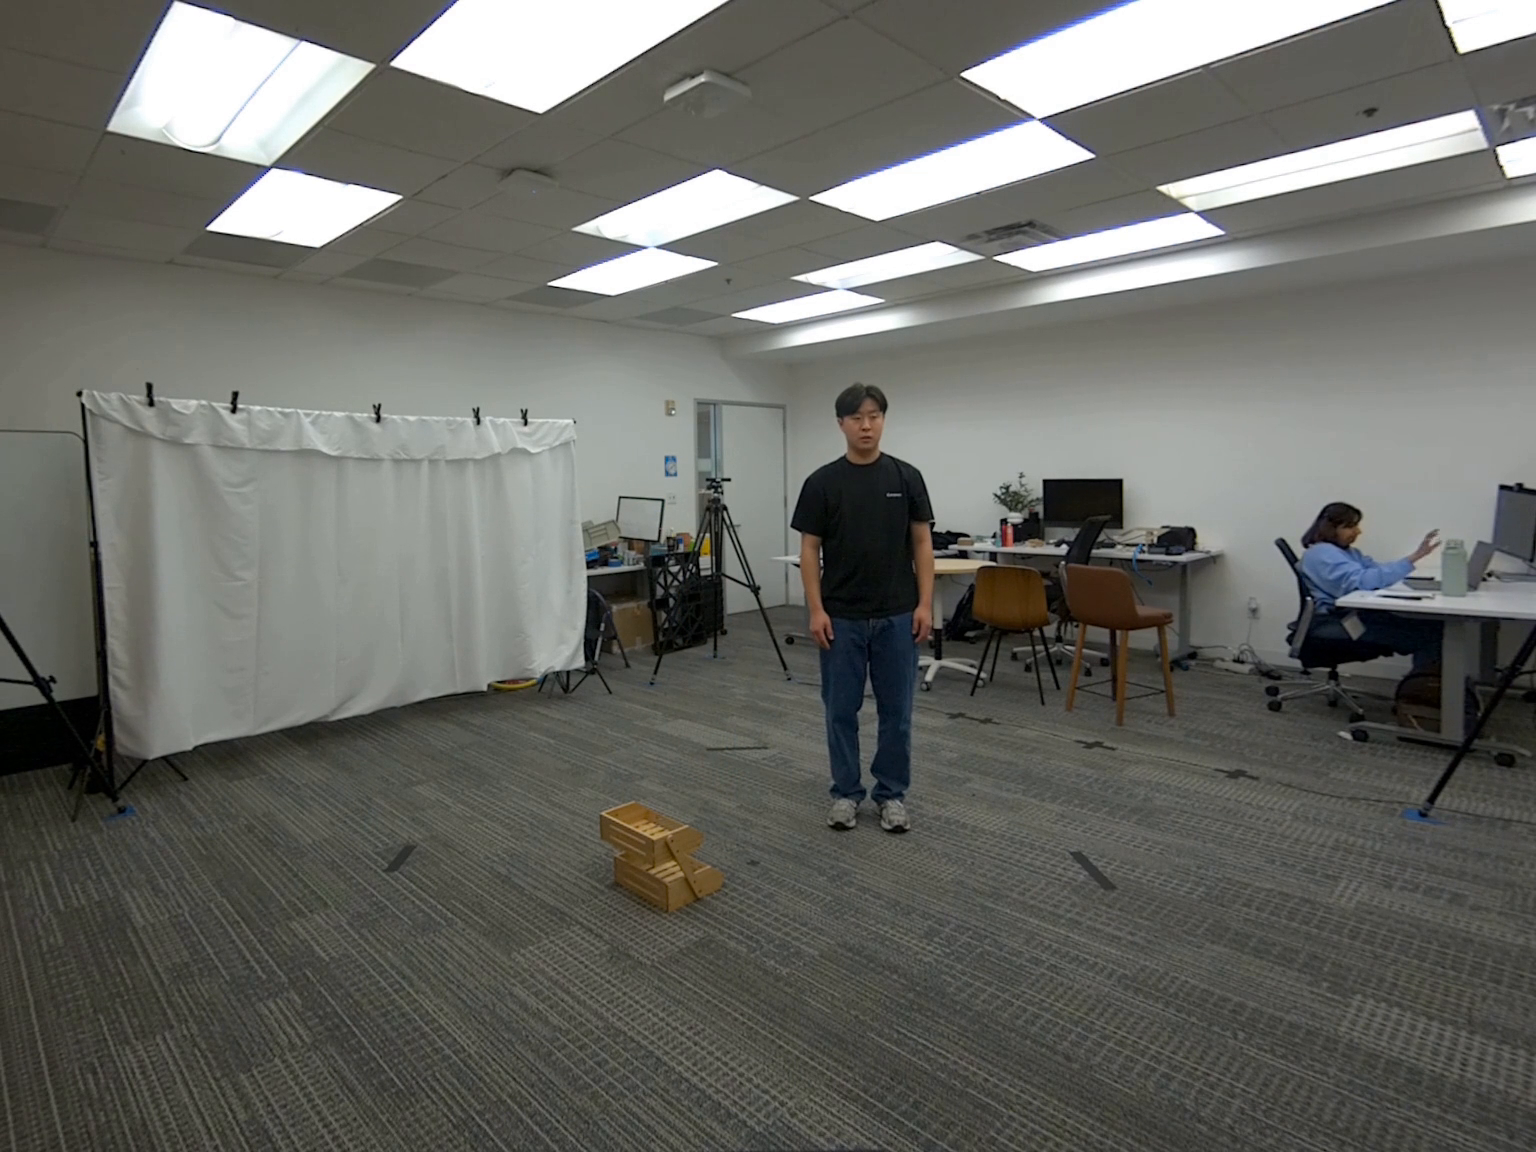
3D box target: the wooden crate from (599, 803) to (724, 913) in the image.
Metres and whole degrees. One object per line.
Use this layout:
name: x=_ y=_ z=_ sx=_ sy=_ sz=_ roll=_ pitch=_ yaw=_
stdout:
wooden crate: x=-0.357 y=0.934 z=2.925 sx=0.294 sy=0.272 sz=0.334 roll=-7 pitch=8 yaw=-44
